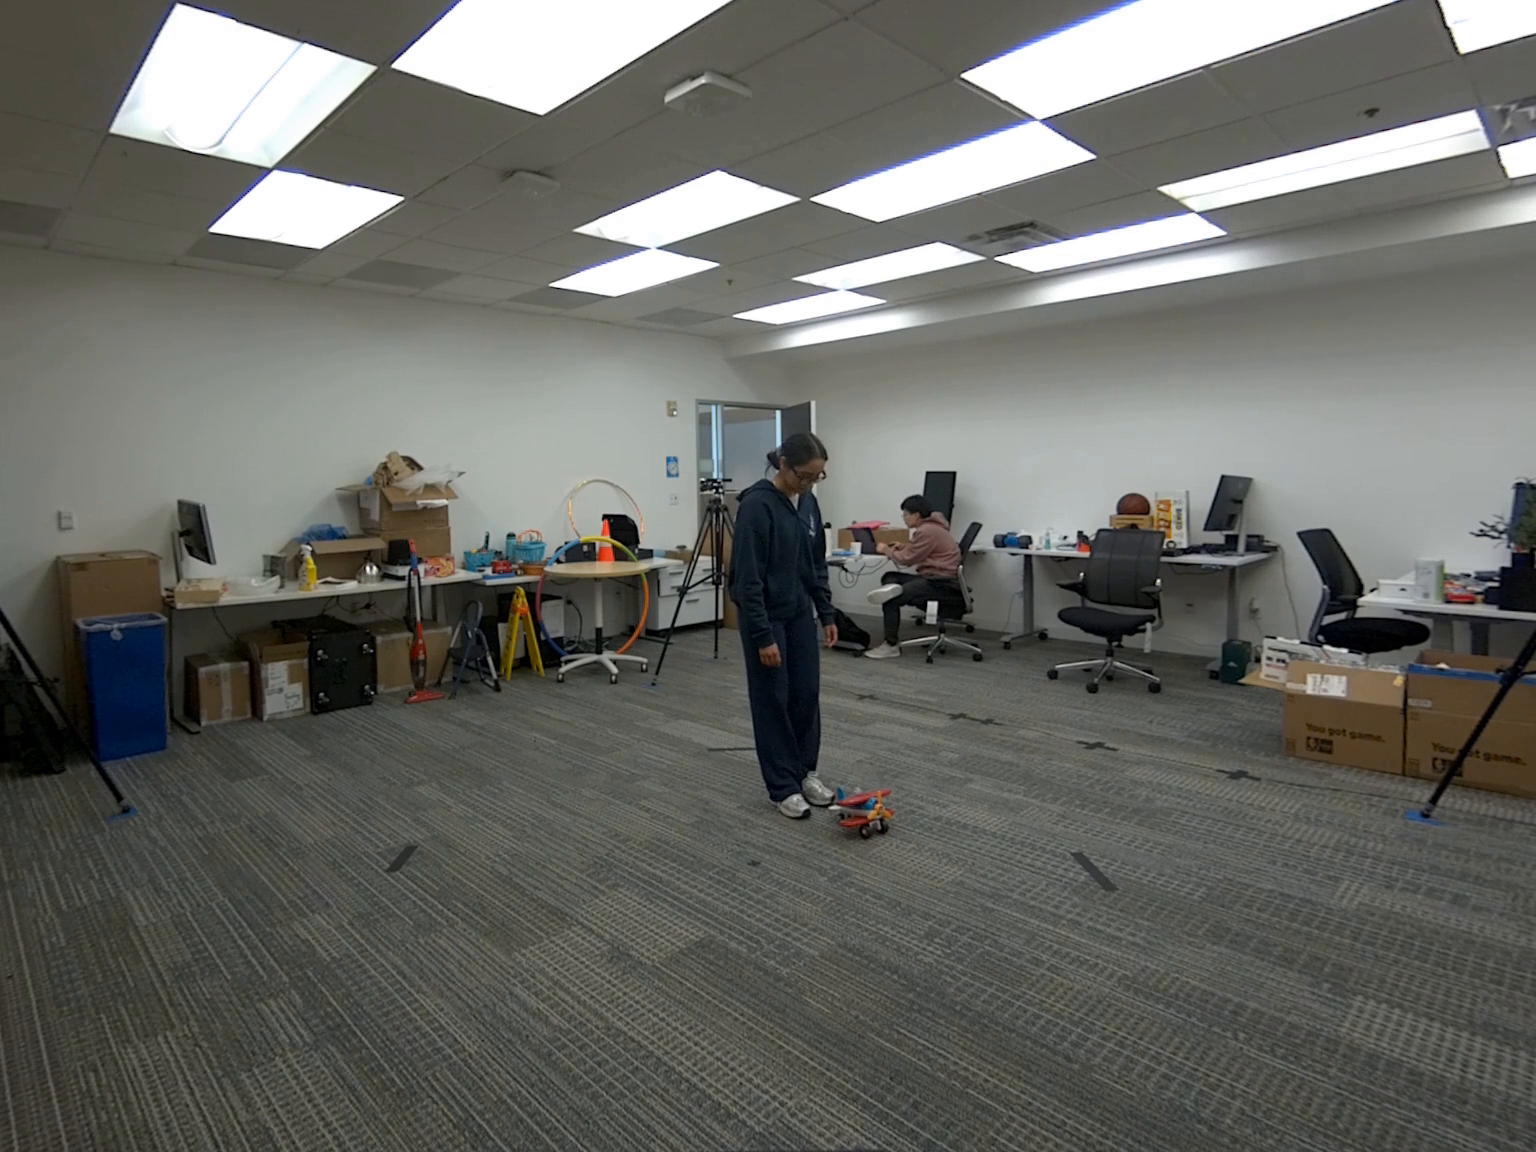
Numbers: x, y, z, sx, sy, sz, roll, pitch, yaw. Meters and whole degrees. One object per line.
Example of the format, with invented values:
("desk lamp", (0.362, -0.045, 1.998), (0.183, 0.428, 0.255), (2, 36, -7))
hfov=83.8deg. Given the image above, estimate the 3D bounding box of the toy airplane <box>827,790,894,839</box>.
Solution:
("toy airplane", (0.353, 0.932, 3.386), (0.266, 0.156, 0.246), (3, 7, 28))
